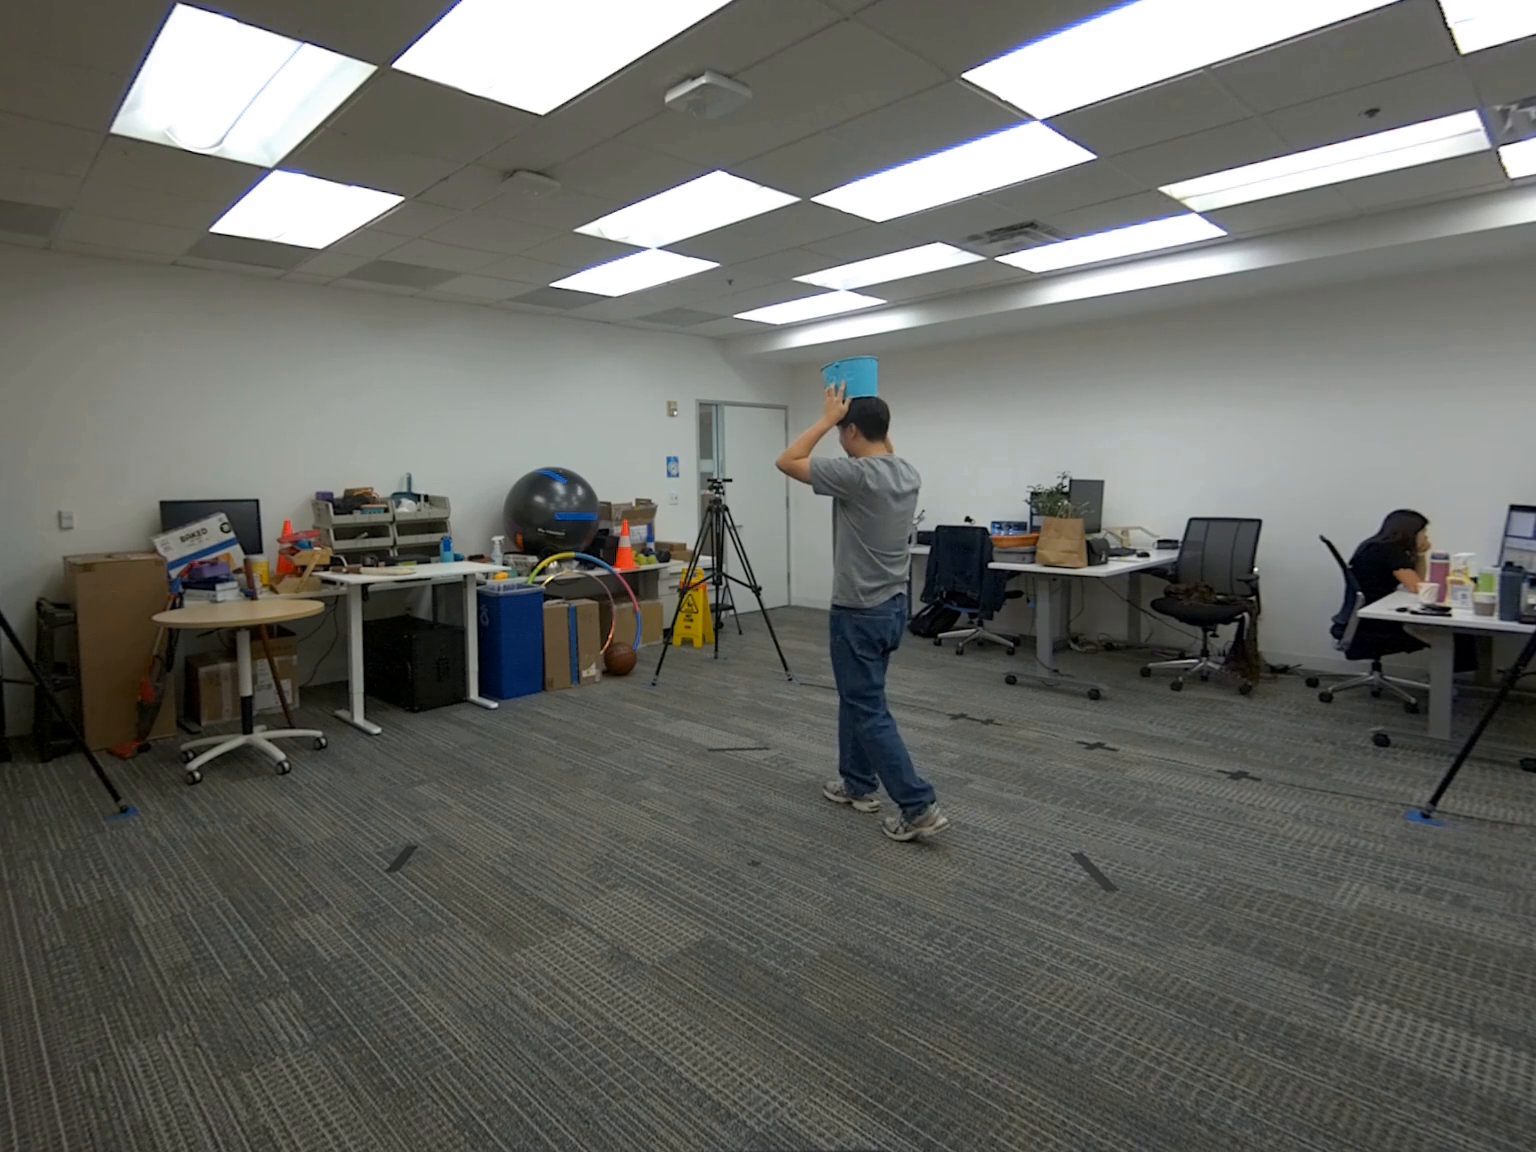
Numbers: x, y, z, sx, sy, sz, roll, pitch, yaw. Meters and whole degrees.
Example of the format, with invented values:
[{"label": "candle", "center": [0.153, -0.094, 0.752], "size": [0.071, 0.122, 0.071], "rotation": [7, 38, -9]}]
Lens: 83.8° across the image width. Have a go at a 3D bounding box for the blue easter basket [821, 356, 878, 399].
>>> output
[{"label": "blue easter basket", "center": [0.346, -0.778, 3.446], "size": [0.243, 0.156, 0.244], "rotation": [-7, 0, -2]}]
